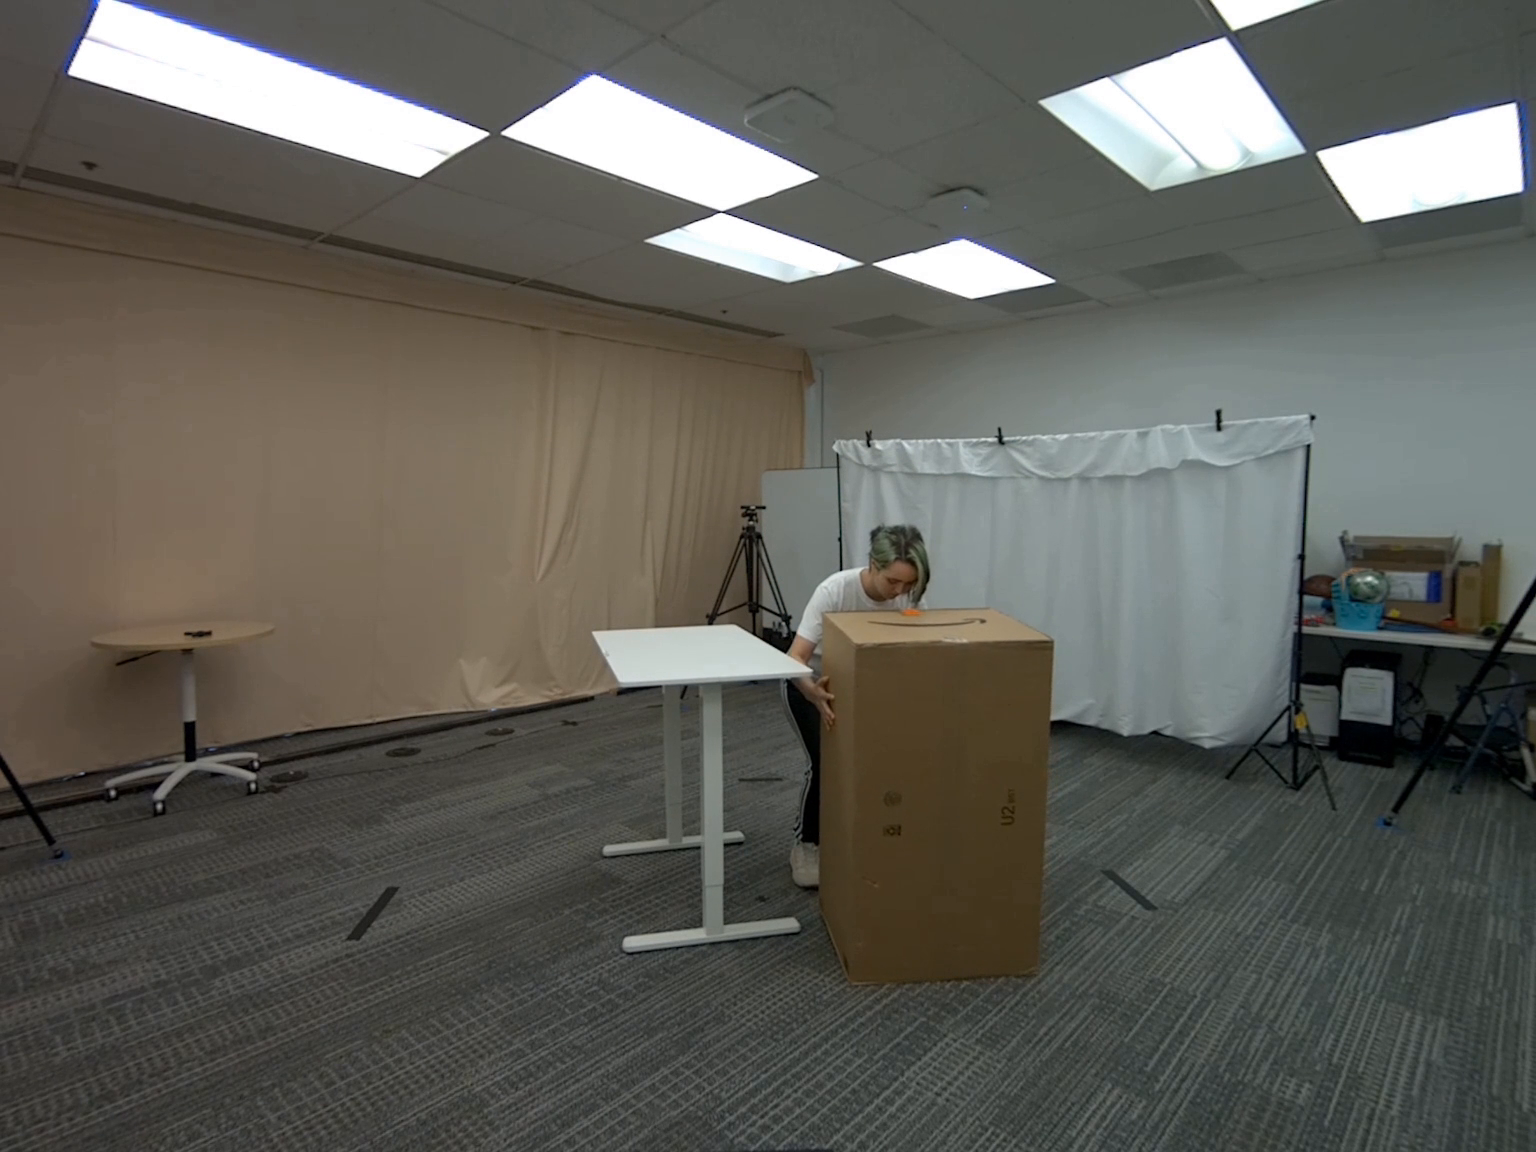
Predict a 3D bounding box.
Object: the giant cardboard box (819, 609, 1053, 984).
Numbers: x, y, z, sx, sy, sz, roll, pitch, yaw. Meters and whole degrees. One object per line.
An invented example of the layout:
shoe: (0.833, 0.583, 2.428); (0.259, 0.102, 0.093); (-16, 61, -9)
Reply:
giant cardboard box: (0.493, 0.654, 2.607); (0.579, 1.021, 0.453); (-1, 9, -8)
